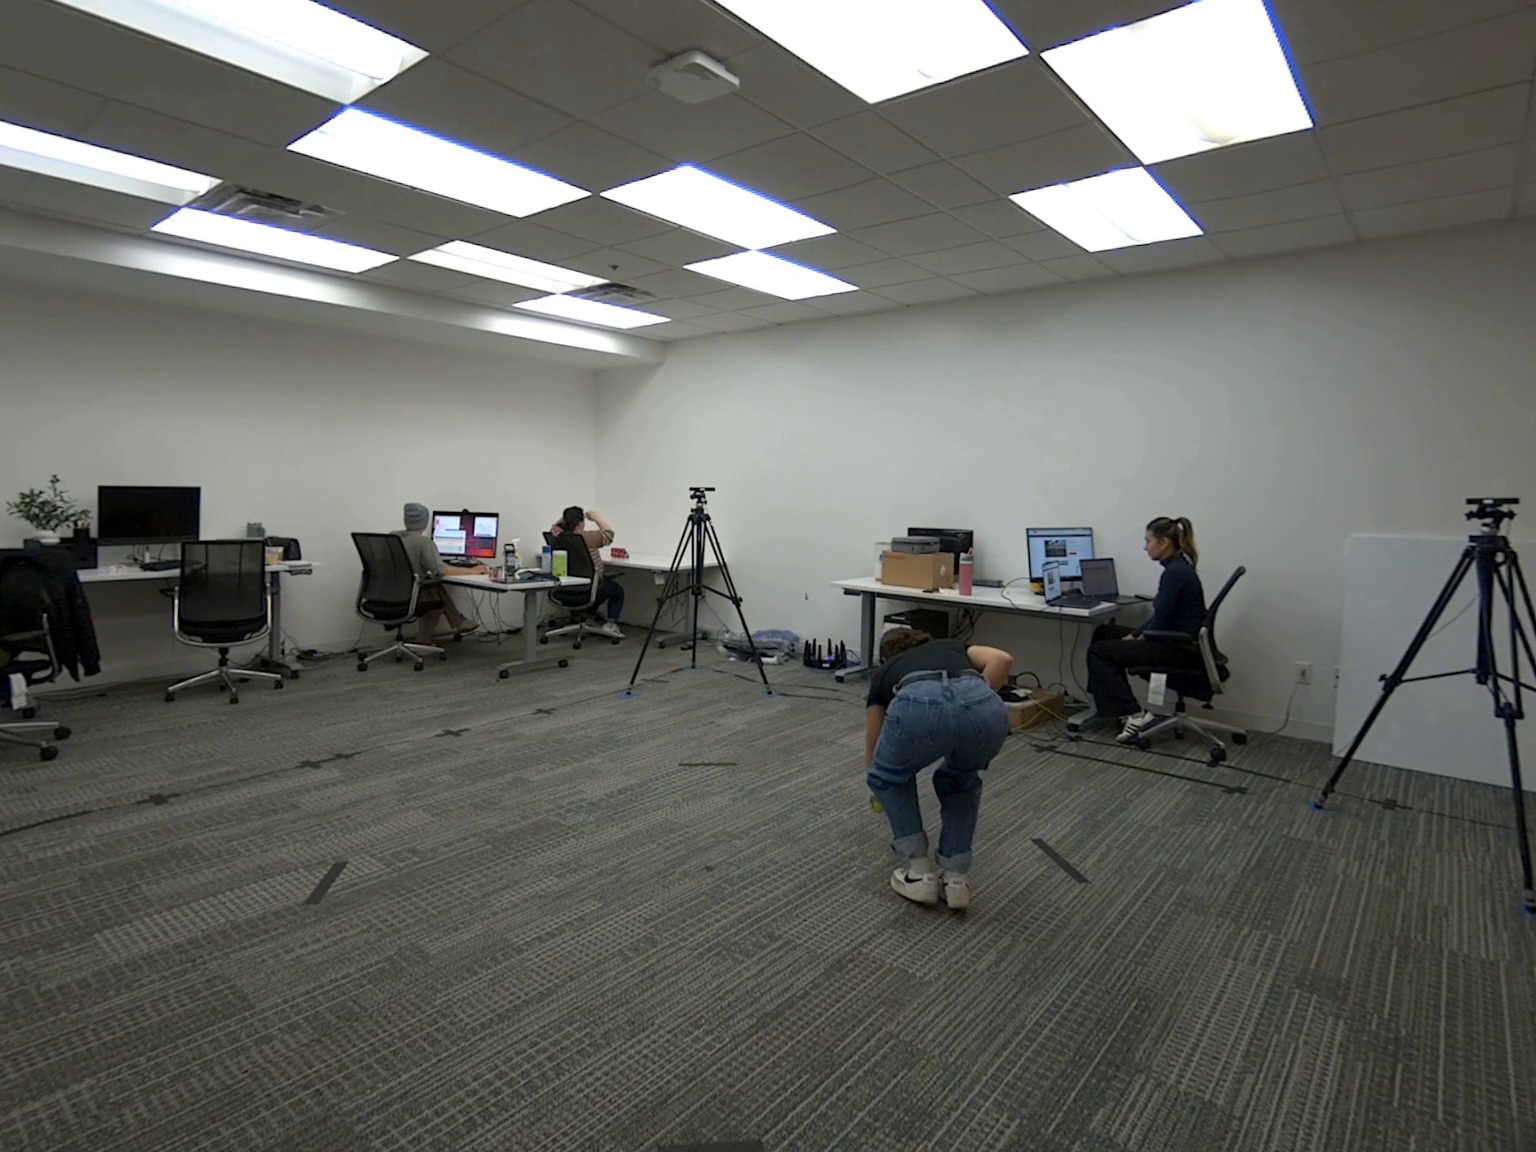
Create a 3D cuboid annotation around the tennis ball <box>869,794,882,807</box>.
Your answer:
[{"bbox_3d":[0.438,0.865,3.431,0.066,0.066,0.067,1,4,-2],"label":"tennis ball"}]
